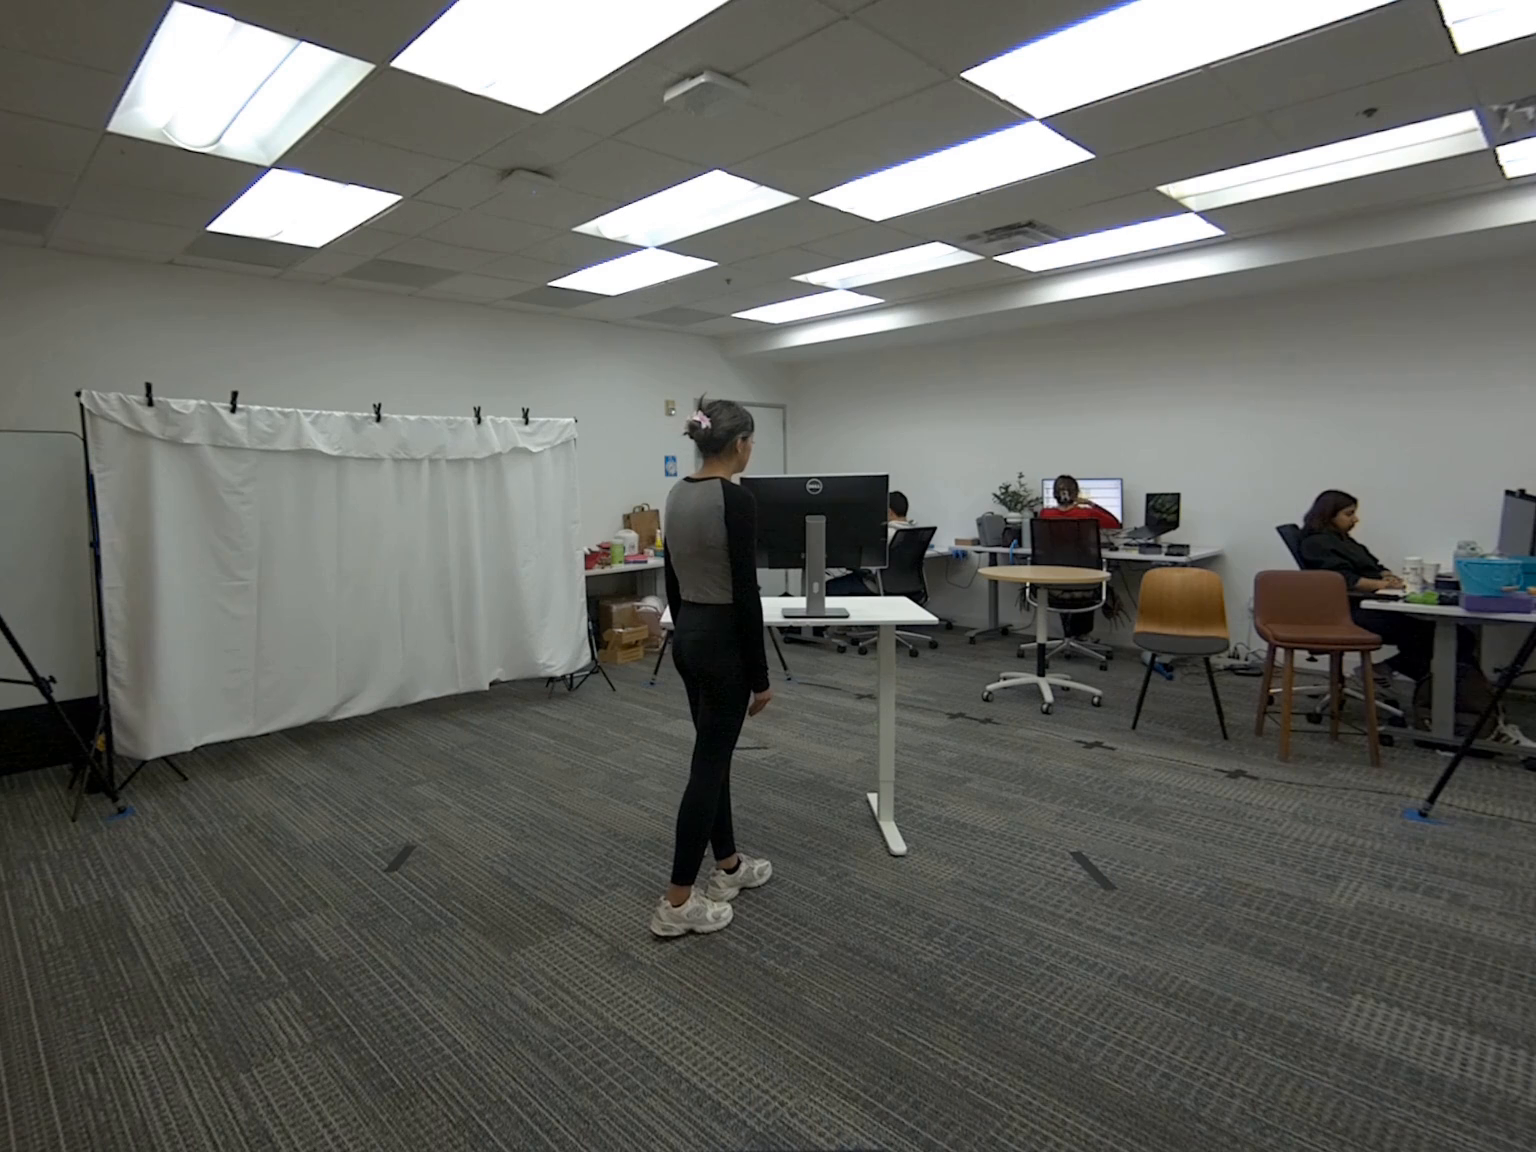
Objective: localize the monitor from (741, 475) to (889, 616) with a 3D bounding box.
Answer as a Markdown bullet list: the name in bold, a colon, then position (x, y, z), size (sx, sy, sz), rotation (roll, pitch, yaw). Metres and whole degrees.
- **monitor**: position (0.170, -0.113, 3.195), size (0.540, 0.522, 0.187), rotation (0, 1, 2)
